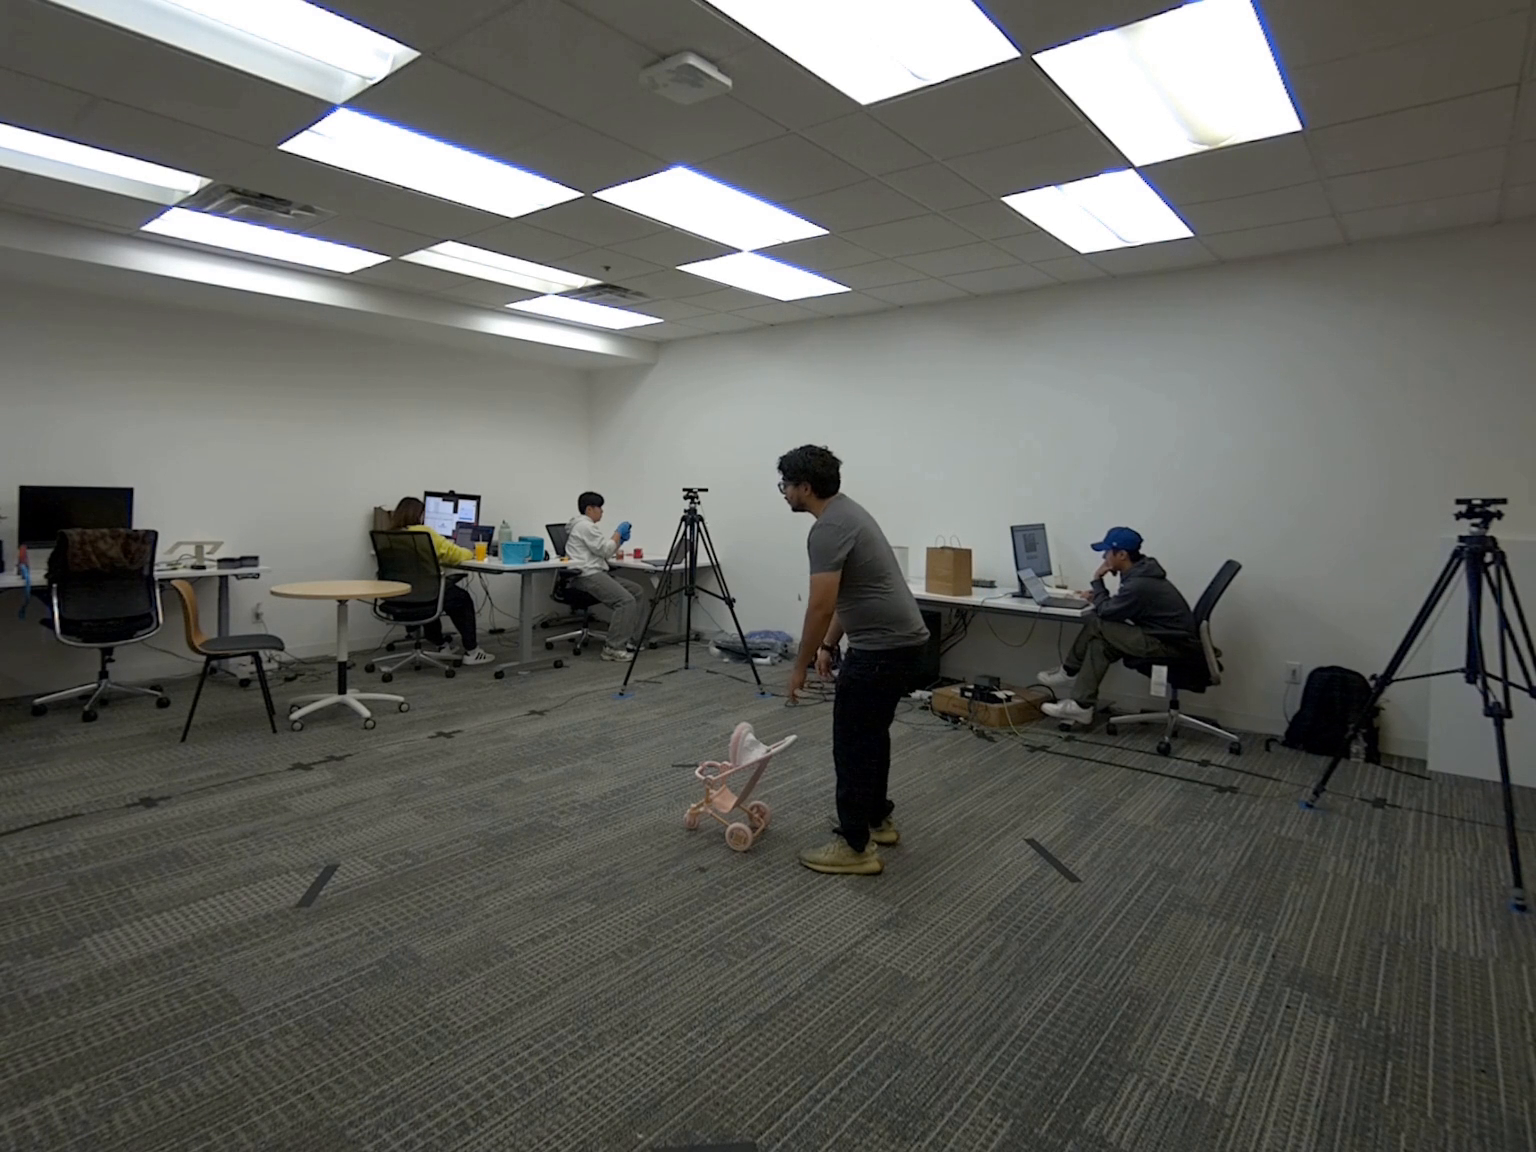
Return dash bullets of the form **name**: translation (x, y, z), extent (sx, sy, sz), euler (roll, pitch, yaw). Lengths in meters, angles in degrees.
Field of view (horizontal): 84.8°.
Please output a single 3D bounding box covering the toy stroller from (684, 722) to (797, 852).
- **toy stroller**: translation (-0.139, 0.825, 3.414), extent (0.351, 0.532, 0.275), euler (21, 10, 22)
